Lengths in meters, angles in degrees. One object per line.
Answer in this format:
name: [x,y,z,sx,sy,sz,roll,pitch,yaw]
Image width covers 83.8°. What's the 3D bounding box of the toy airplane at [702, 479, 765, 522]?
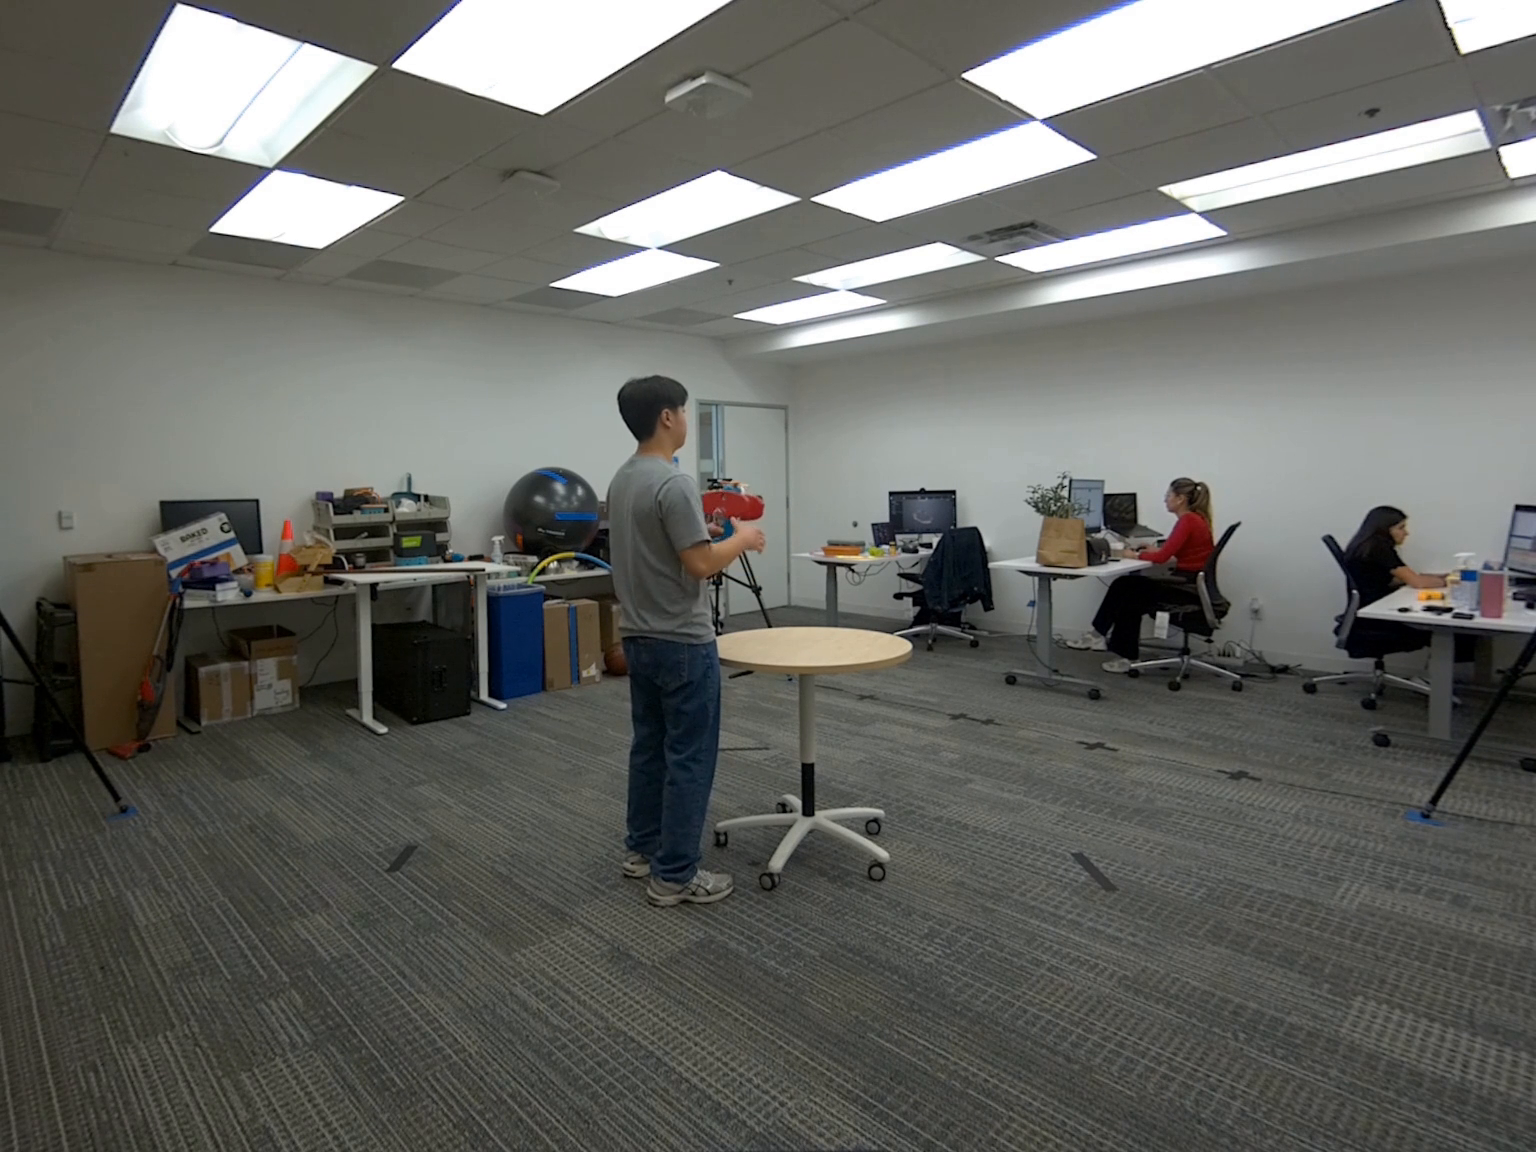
toy airplane: [-0.118,-0.206,3.125,0.254,0.265,0.150,-24,-36,34]
